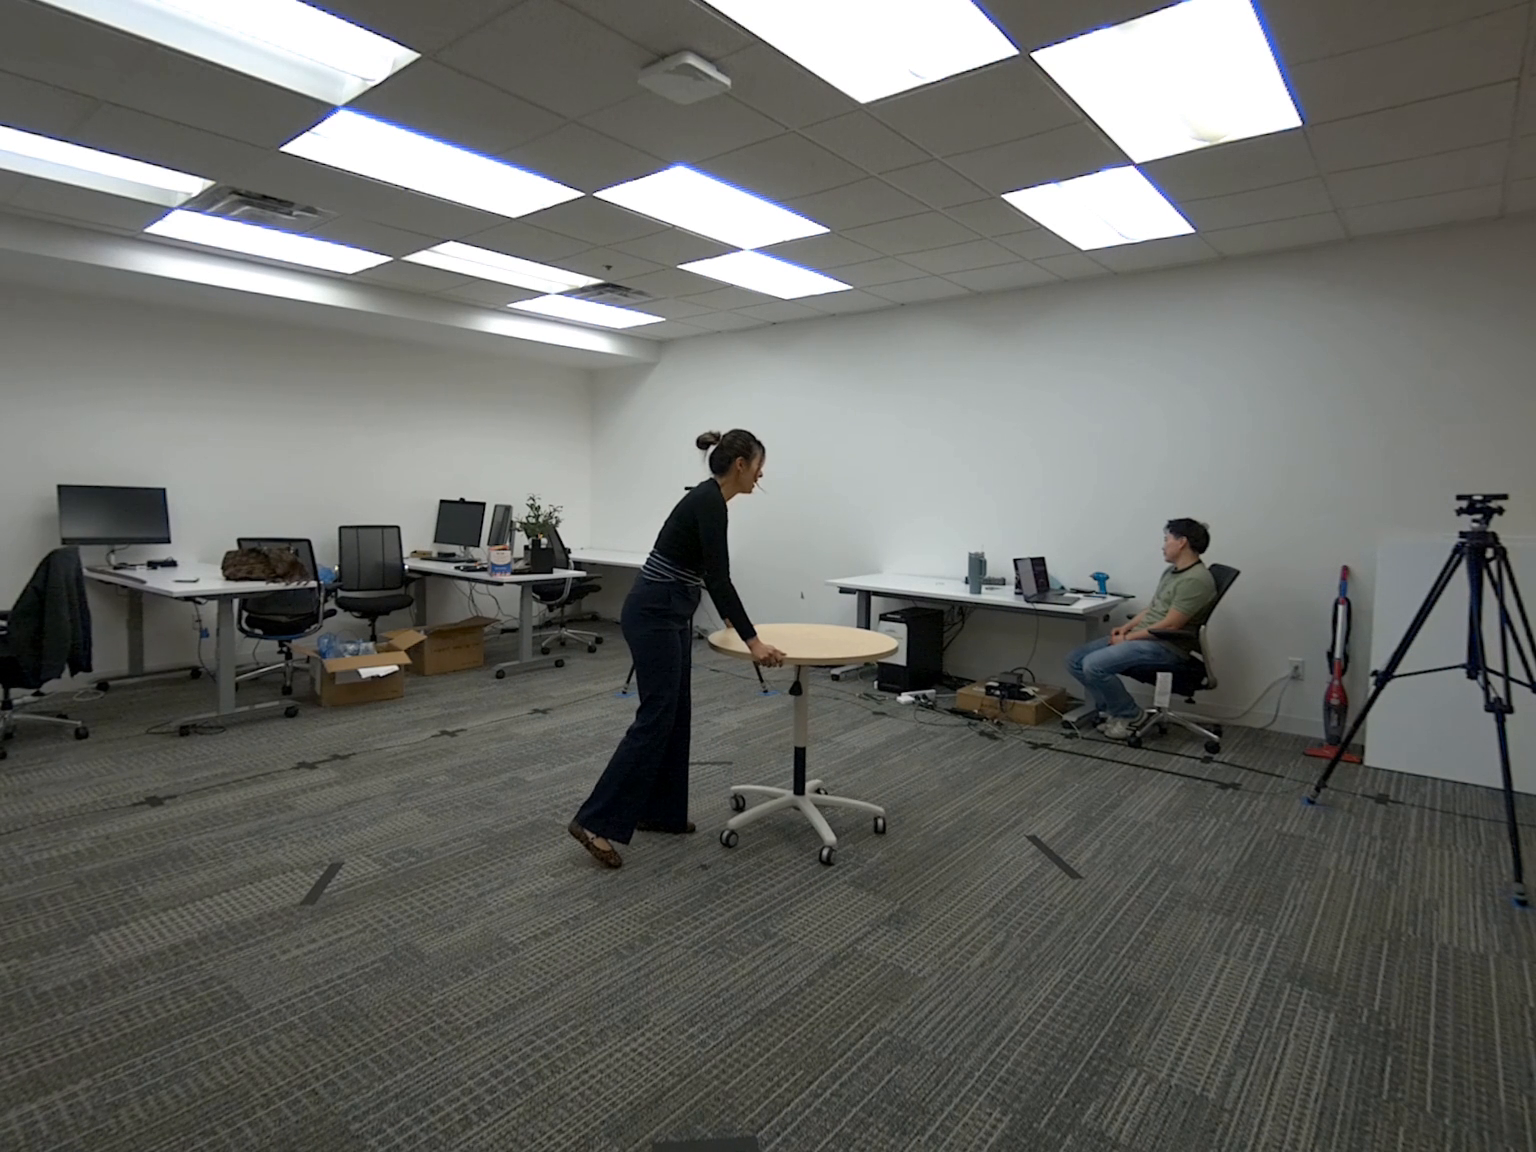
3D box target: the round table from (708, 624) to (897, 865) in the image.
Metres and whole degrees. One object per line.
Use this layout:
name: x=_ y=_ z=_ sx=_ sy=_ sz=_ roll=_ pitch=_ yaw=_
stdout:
round table: x=0.116 y=0.648 z=3.473 sx=0.763 sy=0.791 sz=0.768 roll=1 pitch=4 yaw=-2
